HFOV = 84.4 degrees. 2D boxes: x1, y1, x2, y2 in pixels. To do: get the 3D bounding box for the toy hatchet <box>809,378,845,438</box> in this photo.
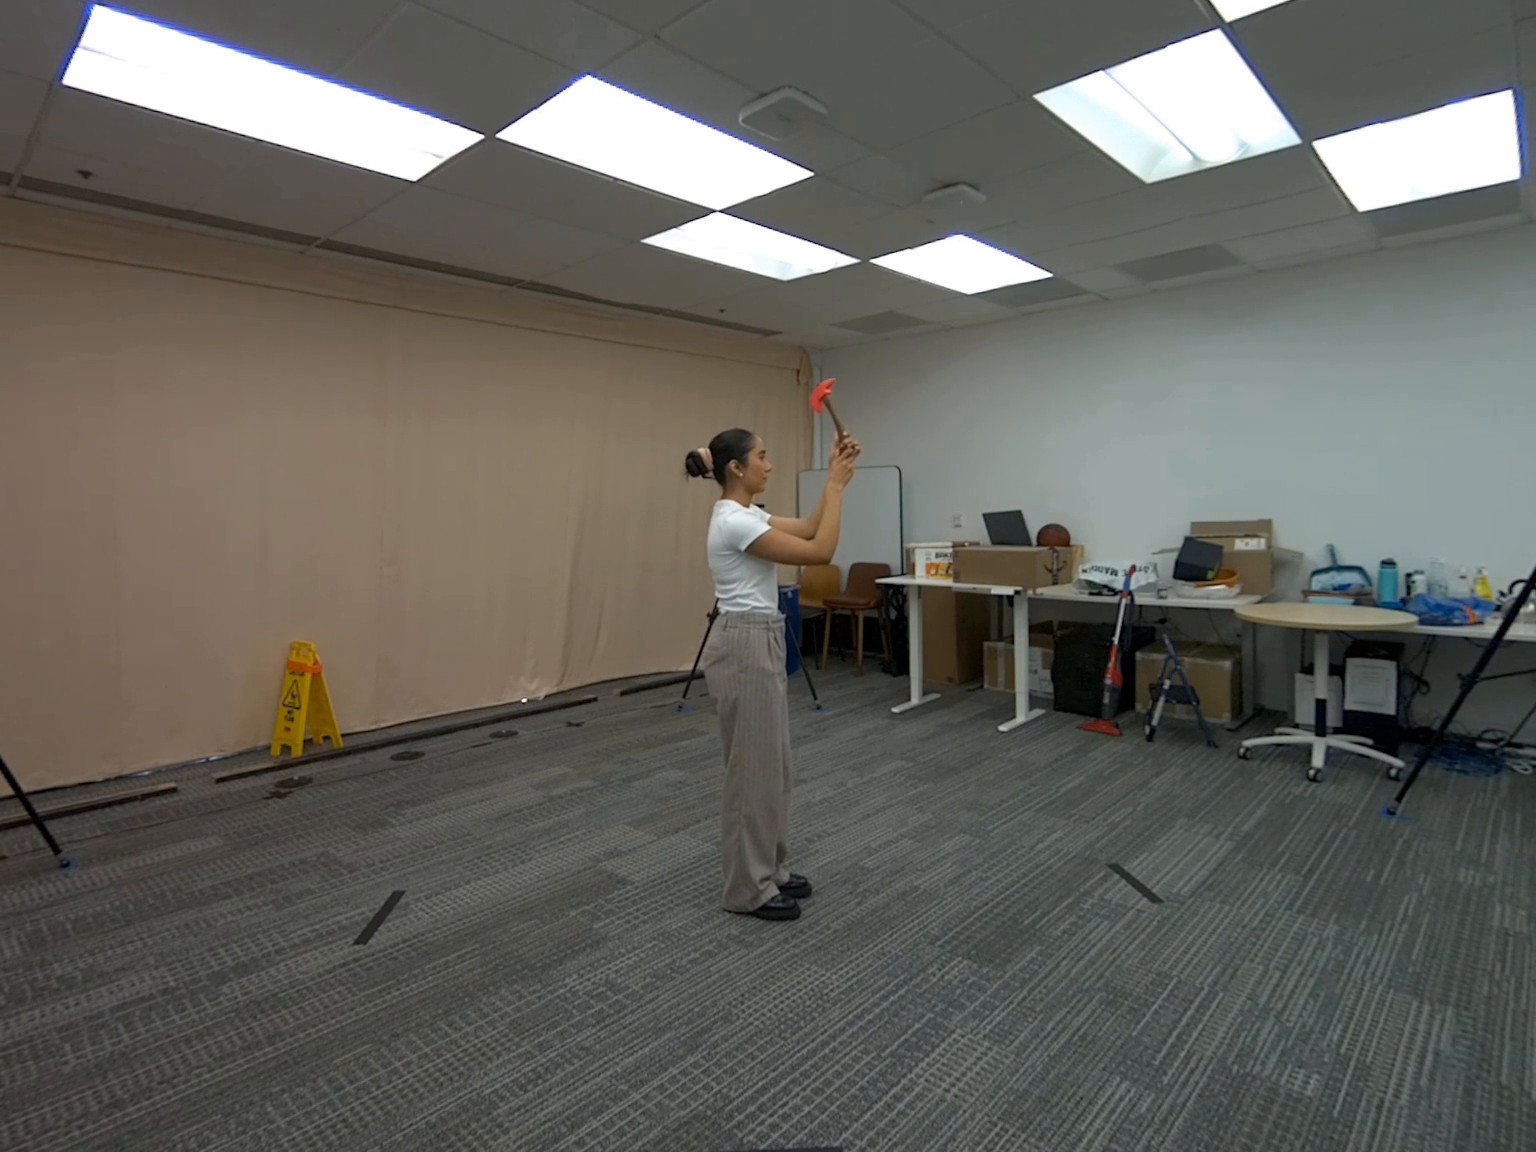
[{"bbox_3d":[0.209,-0.521,2.826,0.029,0.271,0.134,-6,-7,-42],"label":"toy hatchet"}]
